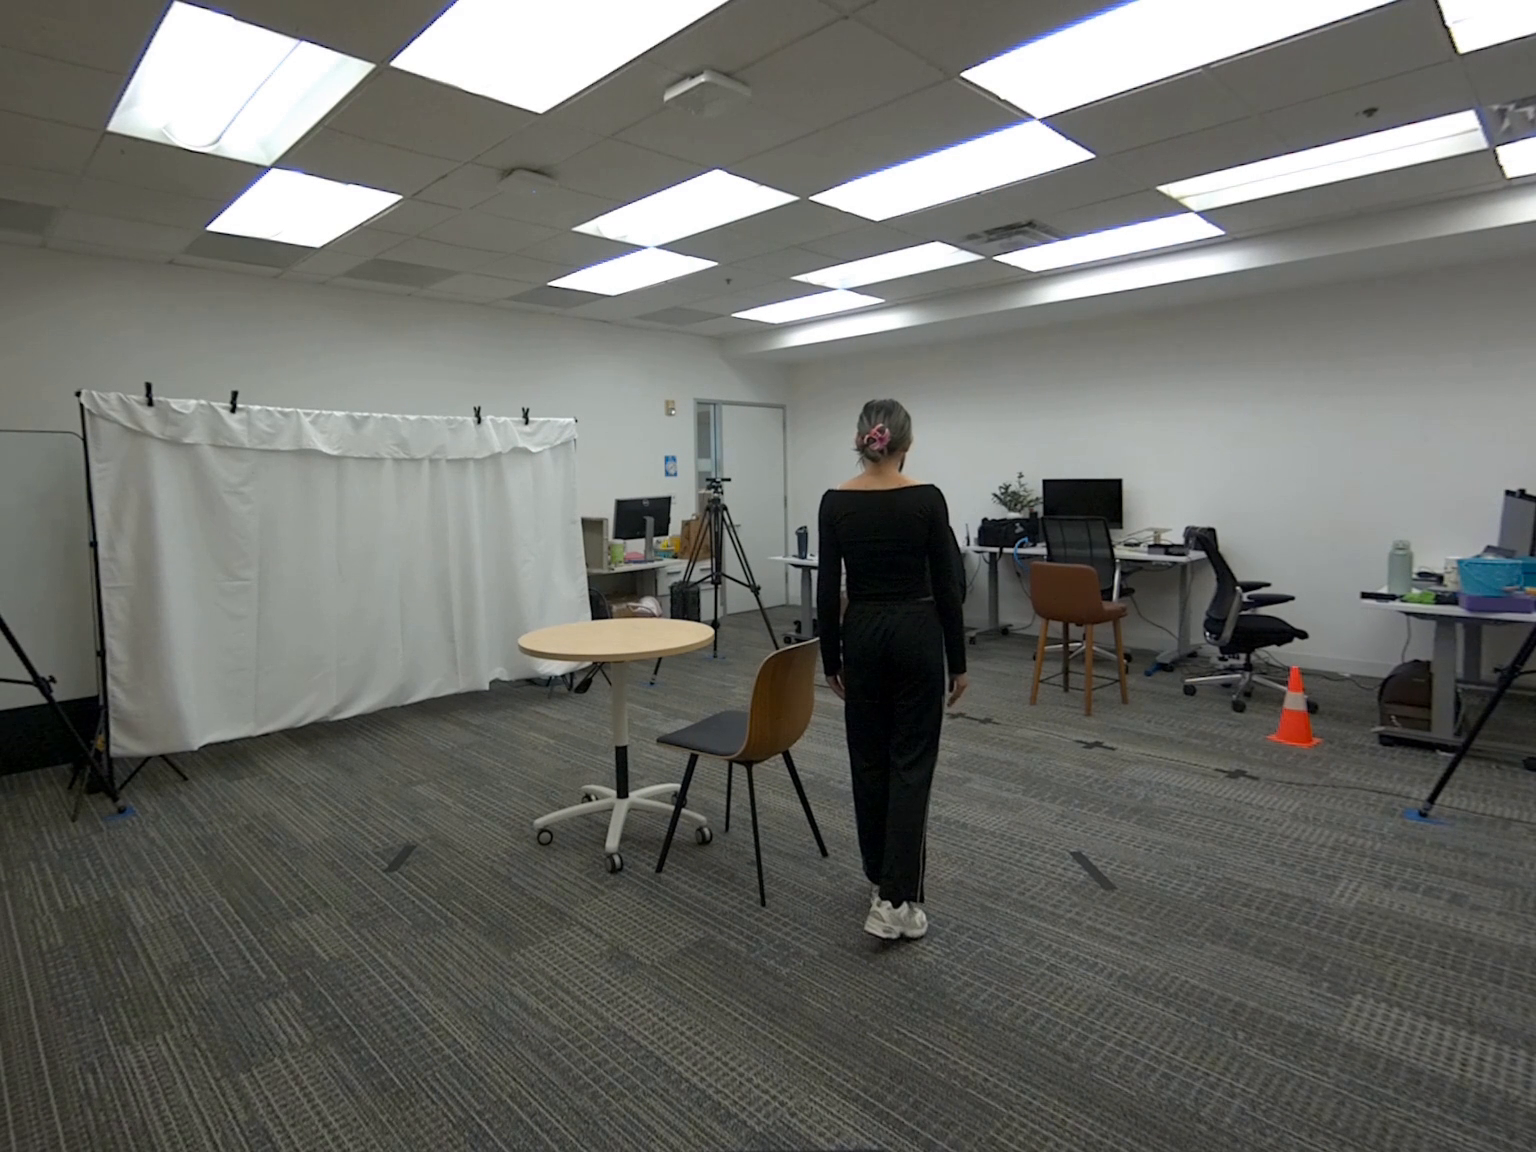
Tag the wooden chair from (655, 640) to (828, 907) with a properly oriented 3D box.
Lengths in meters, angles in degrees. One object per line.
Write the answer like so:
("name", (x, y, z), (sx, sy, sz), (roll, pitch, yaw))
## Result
("wooden chair", (-0.099, 0.620, 3.065), (0.539, 0.872, 0.467), (8, 8, 33))
